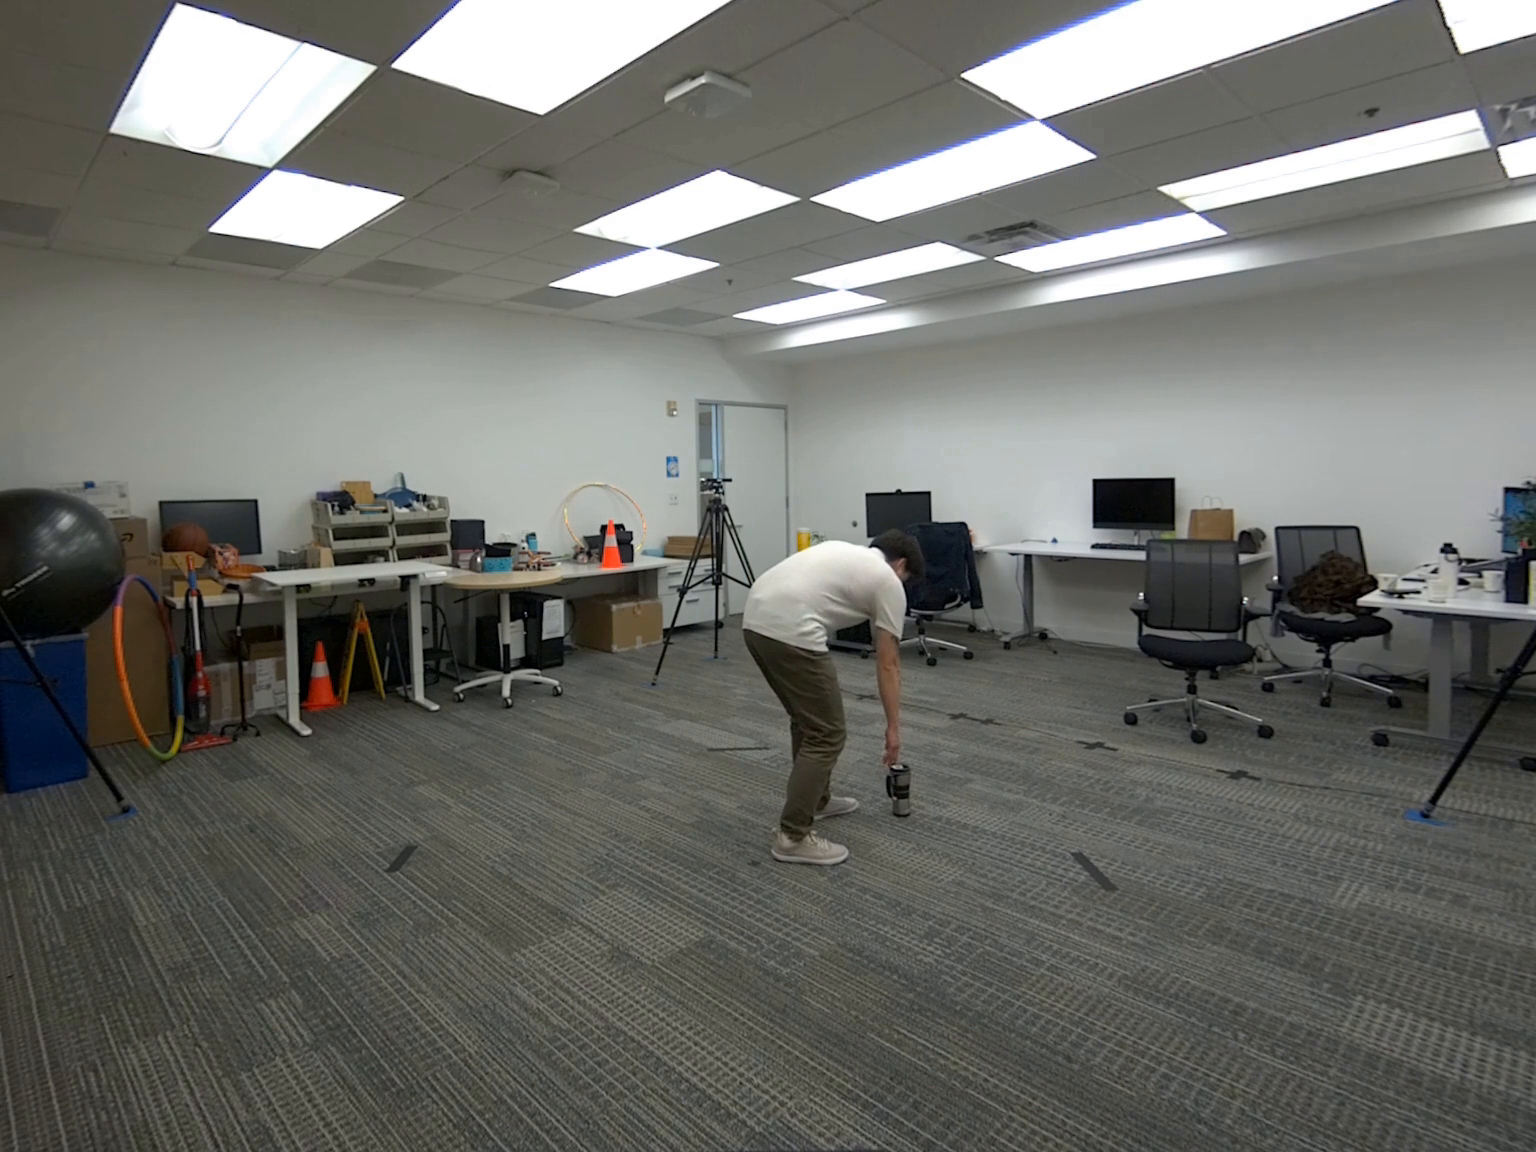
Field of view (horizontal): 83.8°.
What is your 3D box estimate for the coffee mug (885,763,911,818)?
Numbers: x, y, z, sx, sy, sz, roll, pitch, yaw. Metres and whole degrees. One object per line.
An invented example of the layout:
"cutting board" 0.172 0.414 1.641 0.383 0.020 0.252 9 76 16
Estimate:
"coffee mug" 0.525 0.882 3.521 0.120 0.202 0.090 0 6 -20
